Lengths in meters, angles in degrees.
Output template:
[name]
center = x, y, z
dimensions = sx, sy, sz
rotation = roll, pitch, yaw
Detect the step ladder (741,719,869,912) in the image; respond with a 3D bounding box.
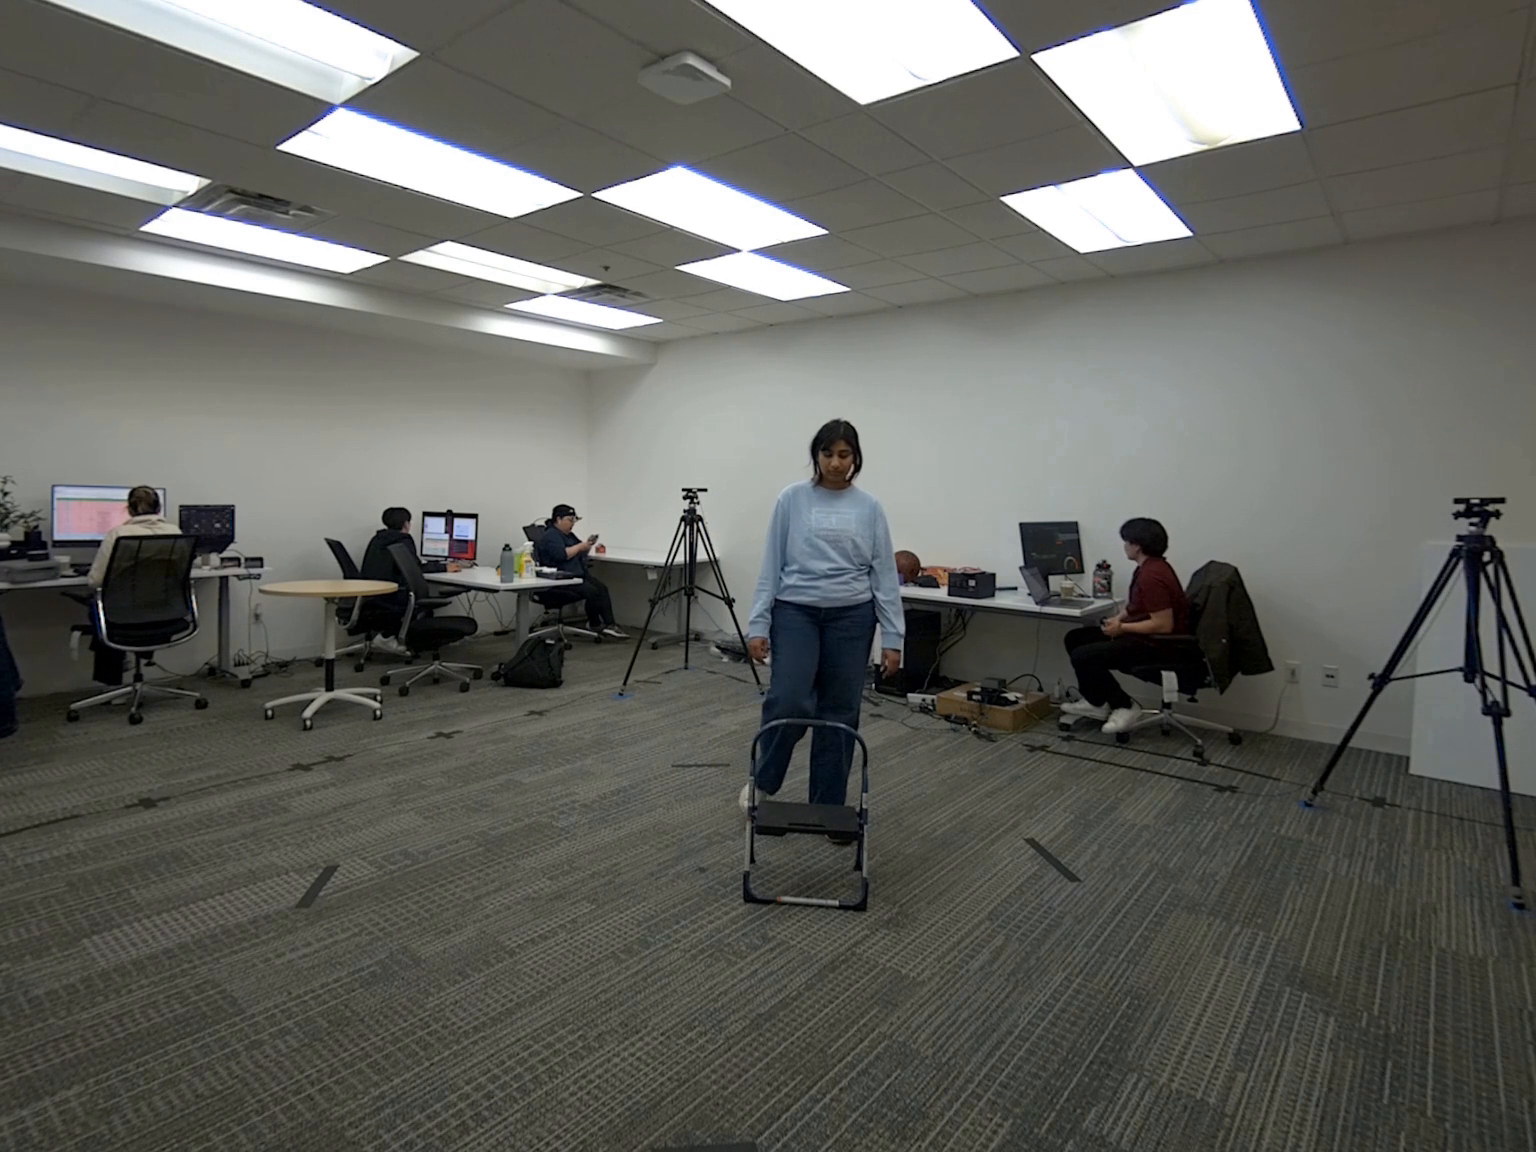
[step ladder]
center = 0.129, 0.788, 2.994
dimensions = 0.433, 0.605, 0.348
rotation = 1, 2, 4
